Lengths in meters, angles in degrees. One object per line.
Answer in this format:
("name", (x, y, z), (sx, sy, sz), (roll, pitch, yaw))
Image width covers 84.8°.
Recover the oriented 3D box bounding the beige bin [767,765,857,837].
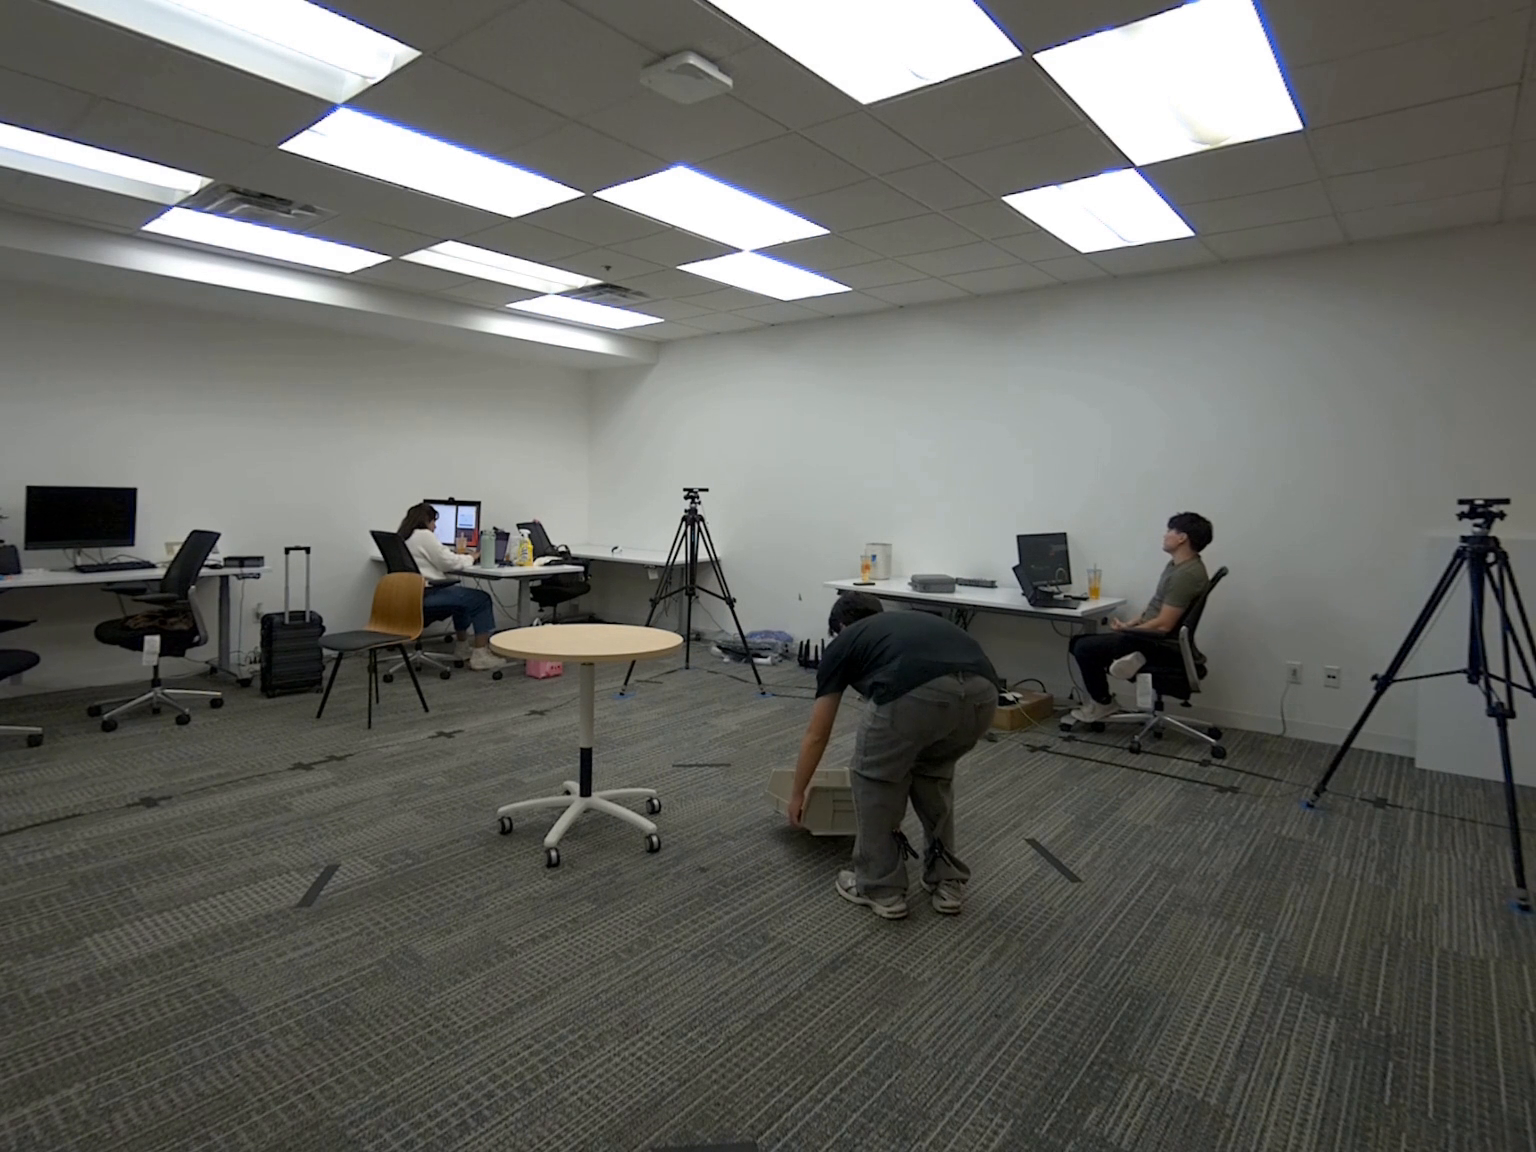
("beige bin", (0.223, 0.886, 3.386), (0.370, 0.190, 0.429), (5, -4, -19))
